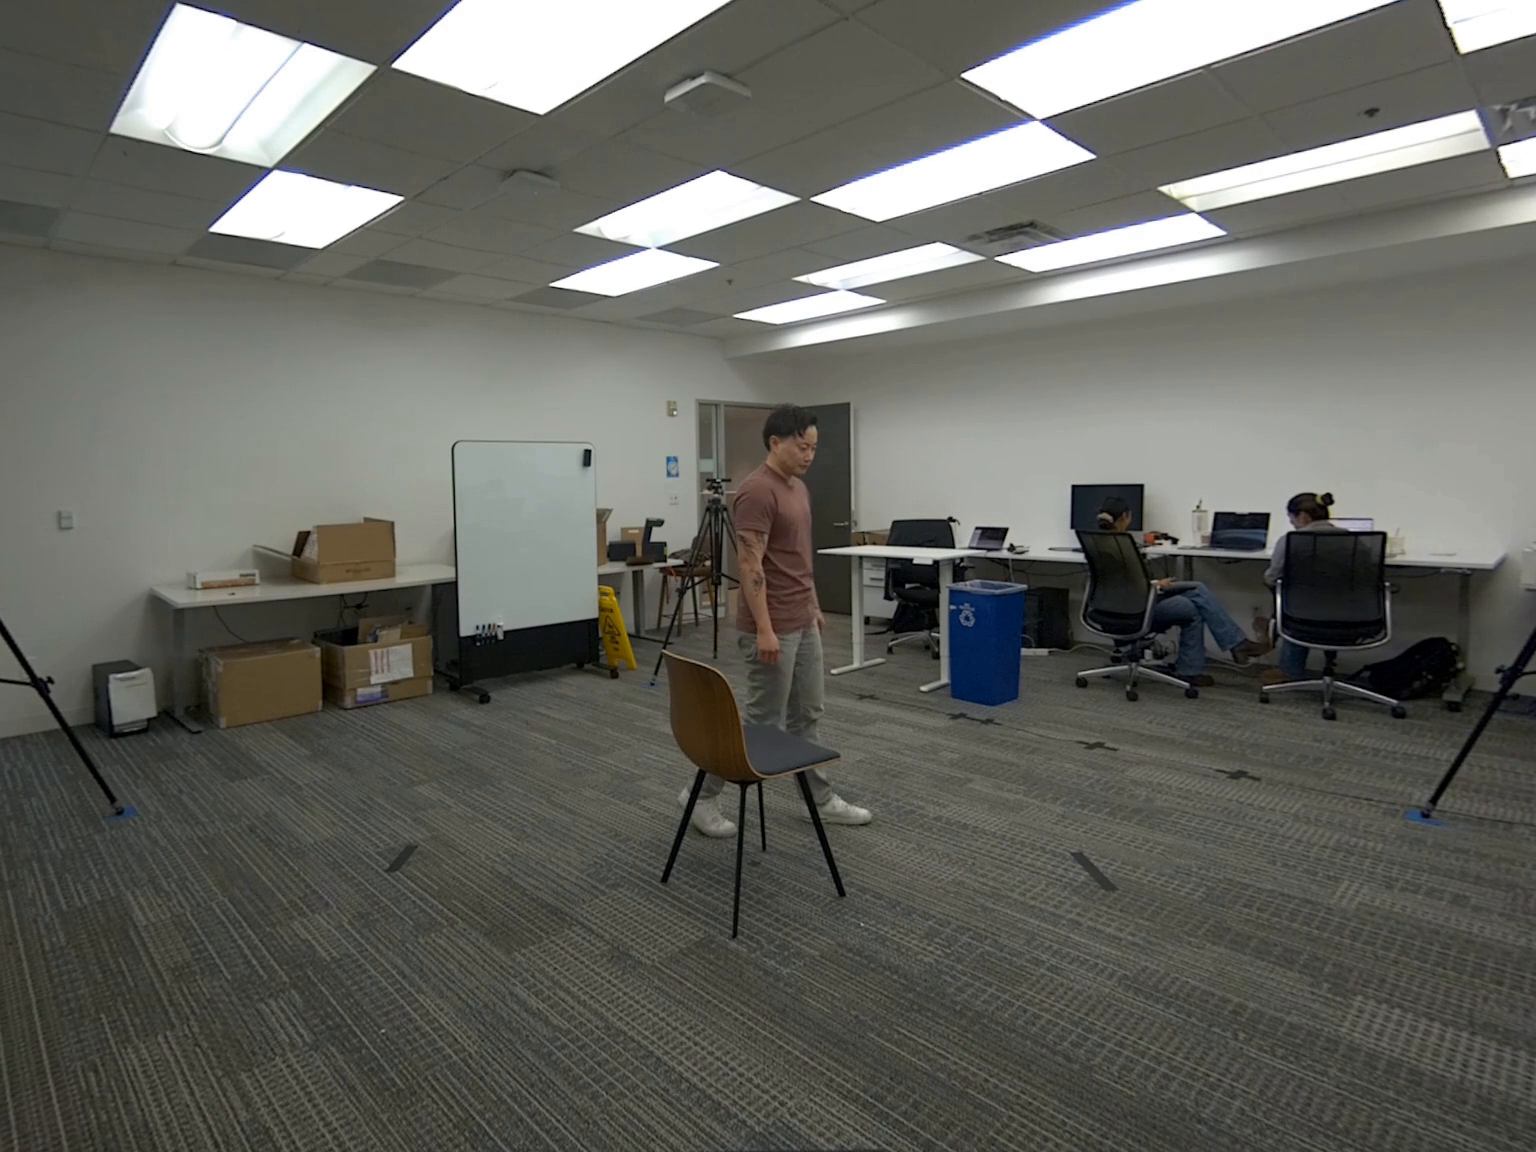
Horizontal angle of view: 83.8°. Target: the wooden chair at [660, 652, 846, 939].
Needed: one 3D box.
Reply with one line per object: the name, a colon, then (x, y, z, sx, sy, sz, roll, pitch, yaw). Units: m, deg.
wooden chair: (-0.057, 0.643, 2.874, 0.511, 0.872, 0.492, -9, 8, -35)
